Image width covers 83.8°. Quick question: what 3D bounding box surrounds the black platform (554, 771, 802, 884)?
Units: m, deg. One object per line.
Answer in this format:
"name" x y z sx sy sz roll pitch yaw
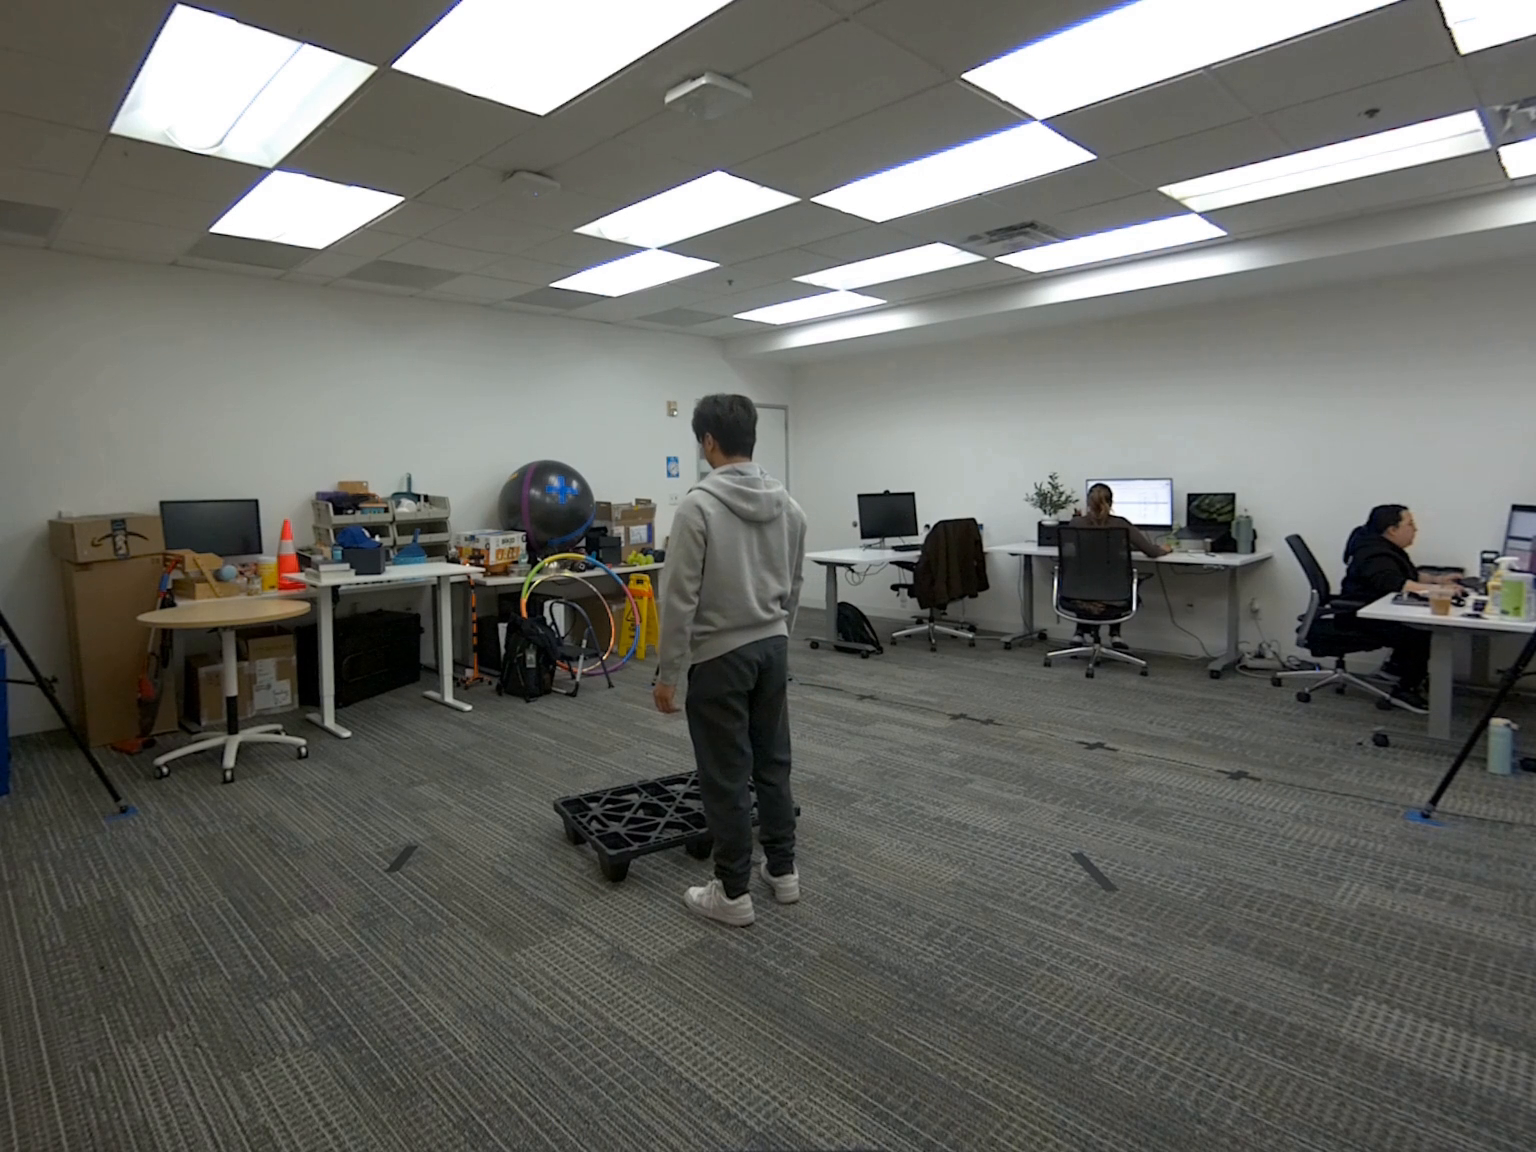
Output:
"black platform" -0.356 0.957 3.352 0.786 0.142 0.623 -5 8 -31
